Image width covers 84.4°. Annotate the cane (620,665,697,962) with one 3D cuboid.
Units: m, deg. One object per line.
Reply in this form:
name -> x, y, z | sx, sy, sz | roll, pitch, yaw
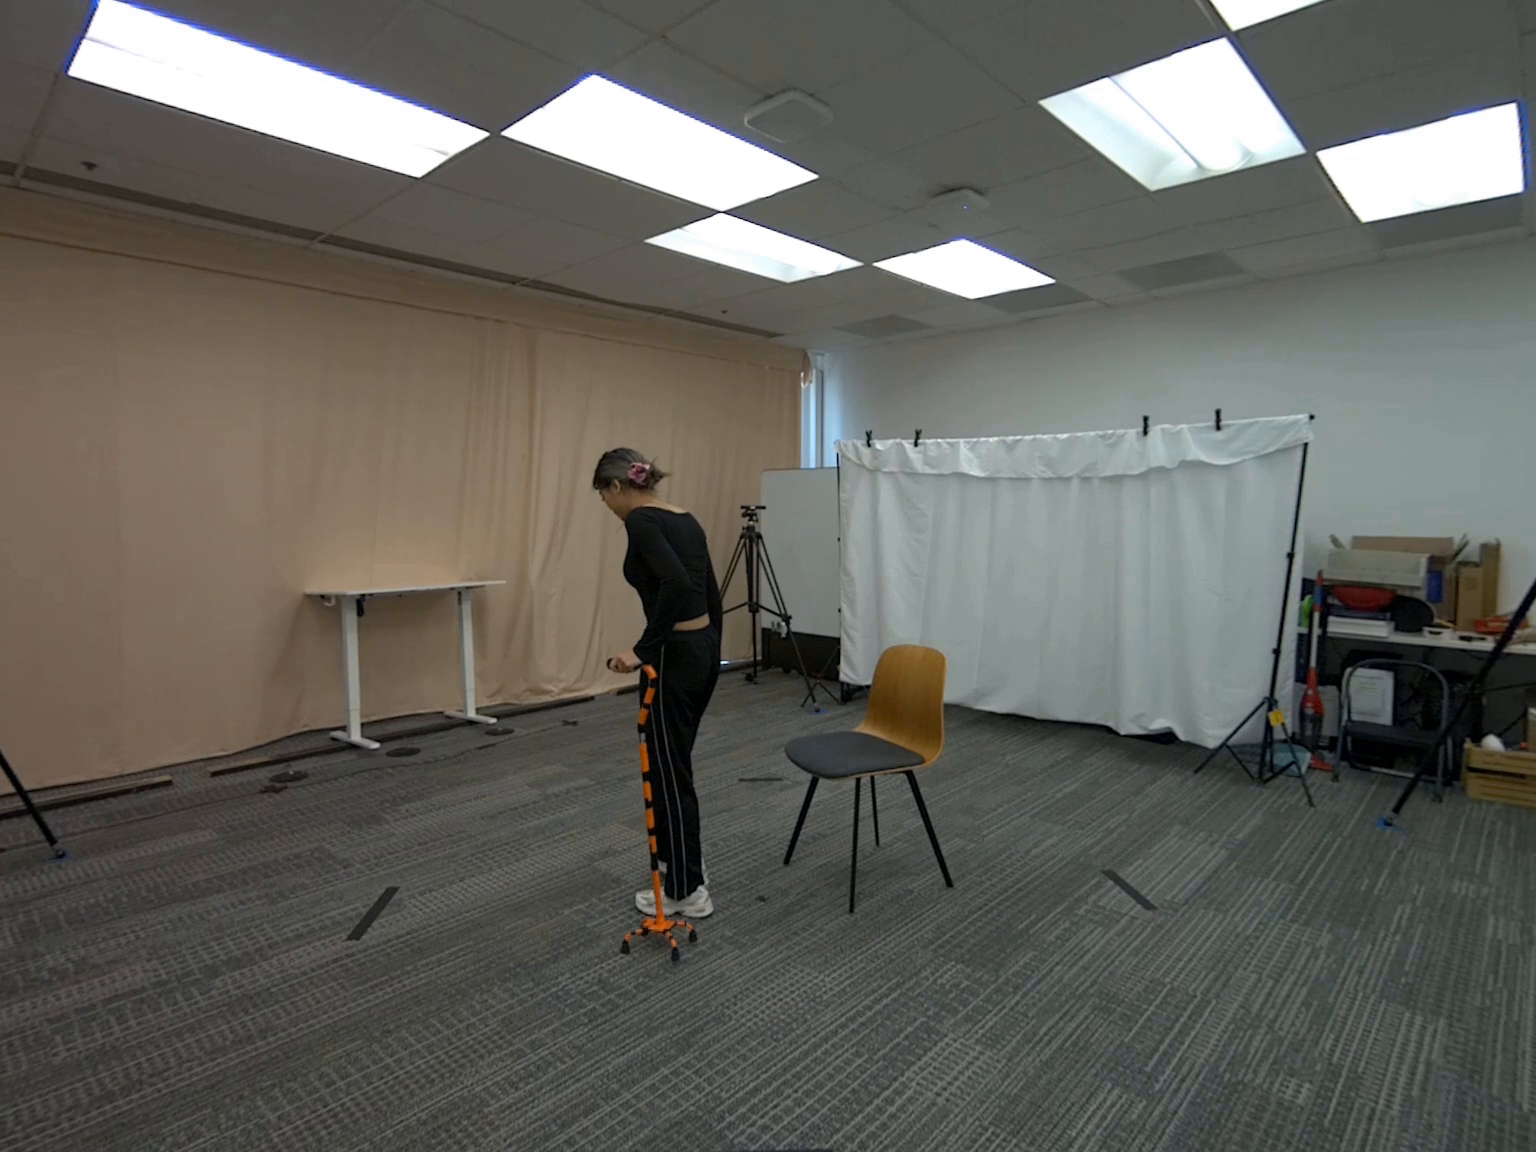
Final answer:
cane -> -0.386, 0.711, 2.637 | 0.211, 0.906, 0.148 | -3, 3, 24
